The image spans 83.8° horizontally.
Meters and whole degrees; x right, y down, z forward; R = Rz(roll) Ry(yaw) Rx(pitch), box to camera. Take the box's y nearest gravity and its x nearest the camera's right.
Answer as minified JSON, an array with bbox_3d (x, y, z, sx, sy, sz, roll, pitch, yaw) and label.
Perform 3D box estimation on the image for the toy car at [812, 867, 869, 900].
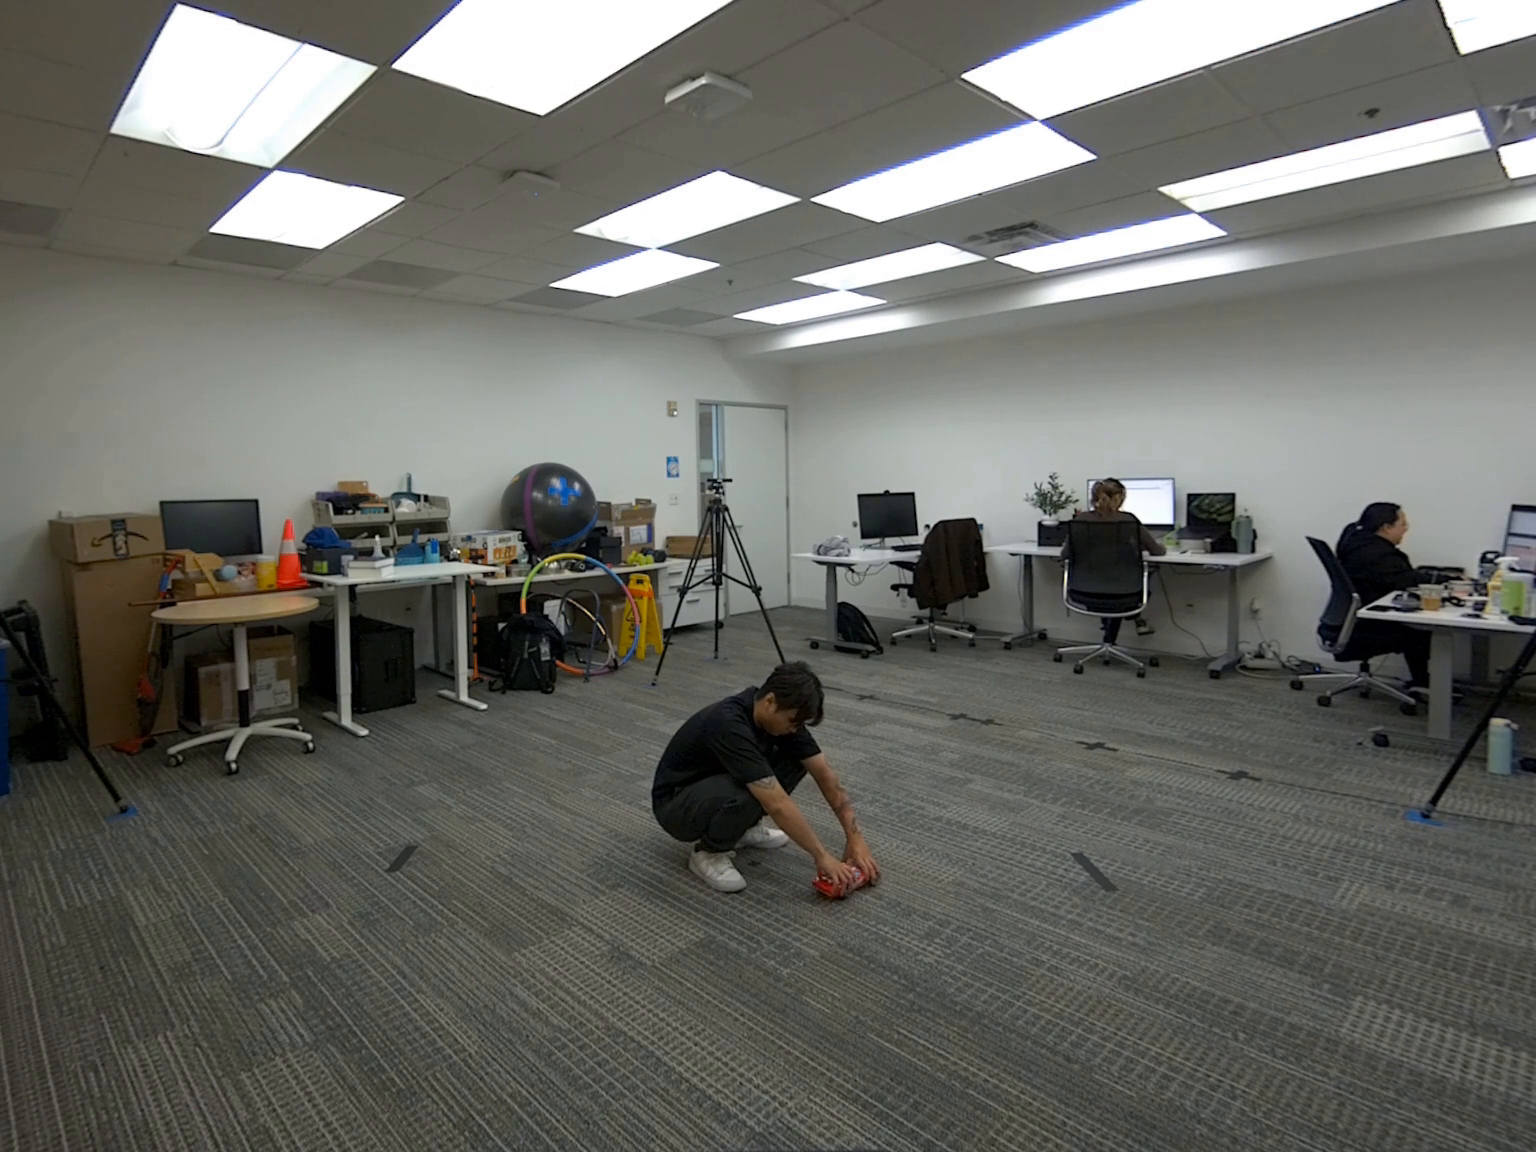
[{"bbox_3d":[0.254,1.026,2.900,0.246,0.083,0.134,9,2,-41],"label":"toy car"}]
